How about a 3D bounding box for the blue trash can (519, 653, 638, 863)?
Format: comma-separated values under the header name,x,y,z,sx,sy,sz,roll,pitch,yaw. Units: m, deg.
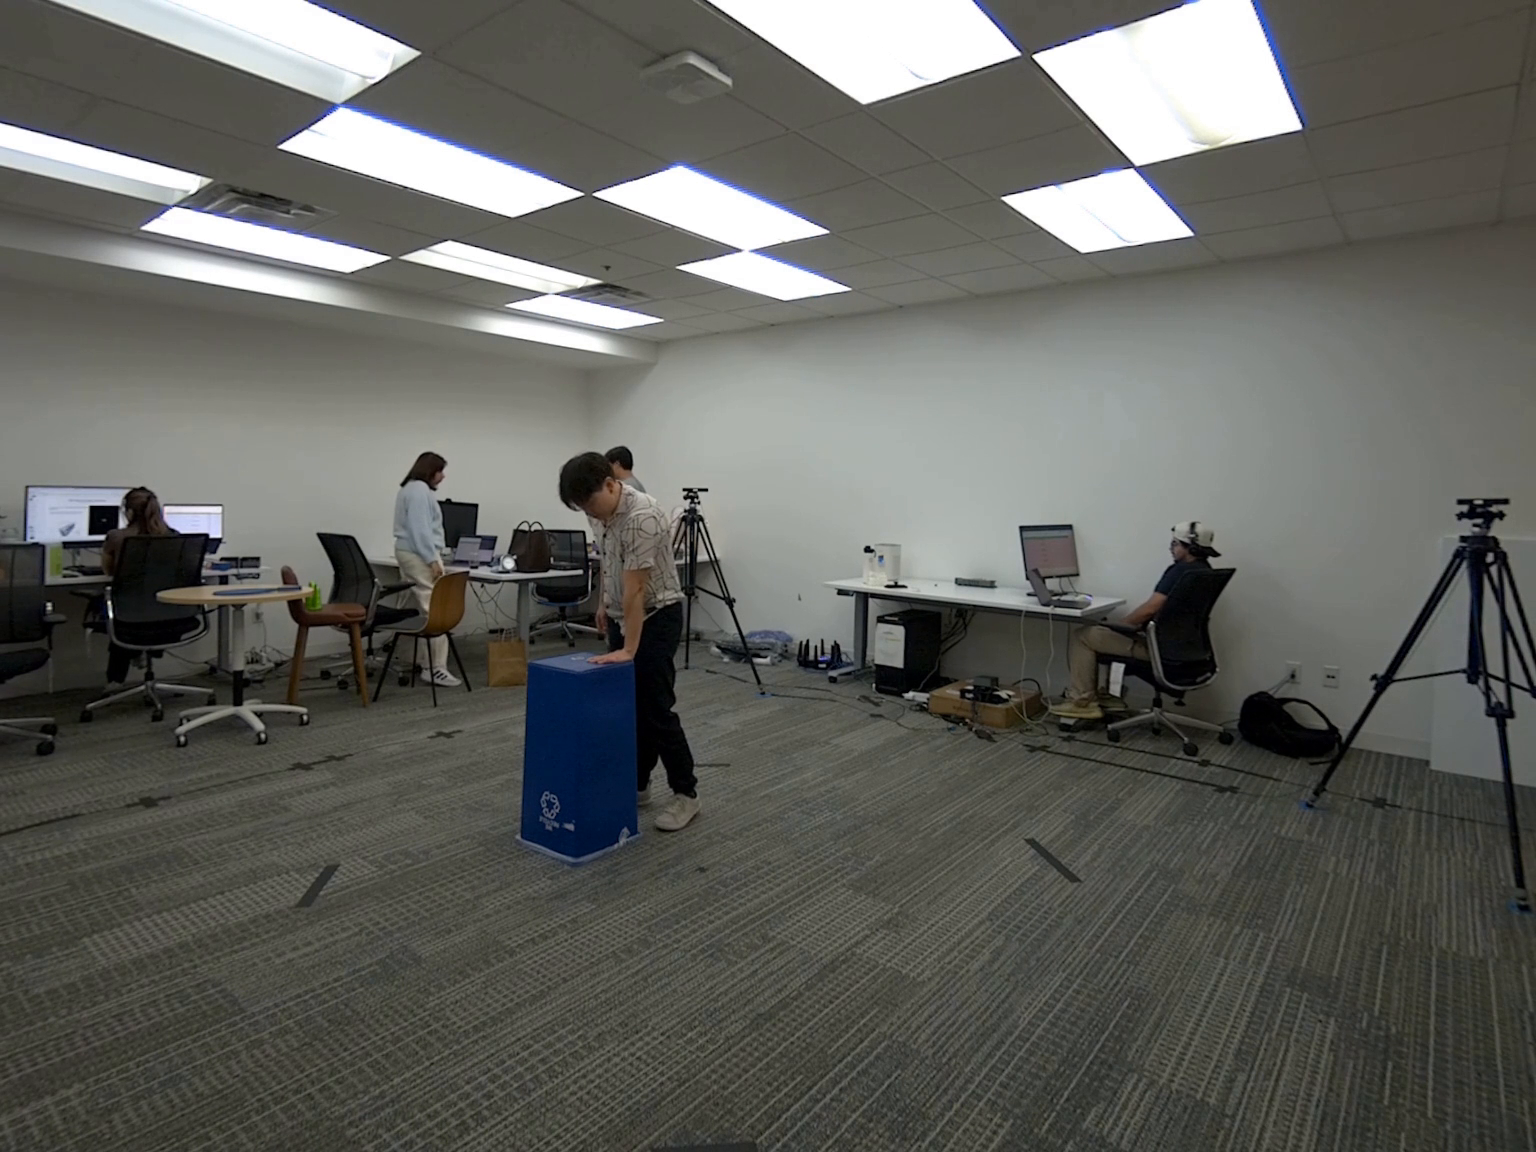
name,x,y,z,sx,sy,sz,roll,pitch,yaw
blue trash can,-0.753,0.683,3.351,0.386,0.712,0.367,2,2,37
